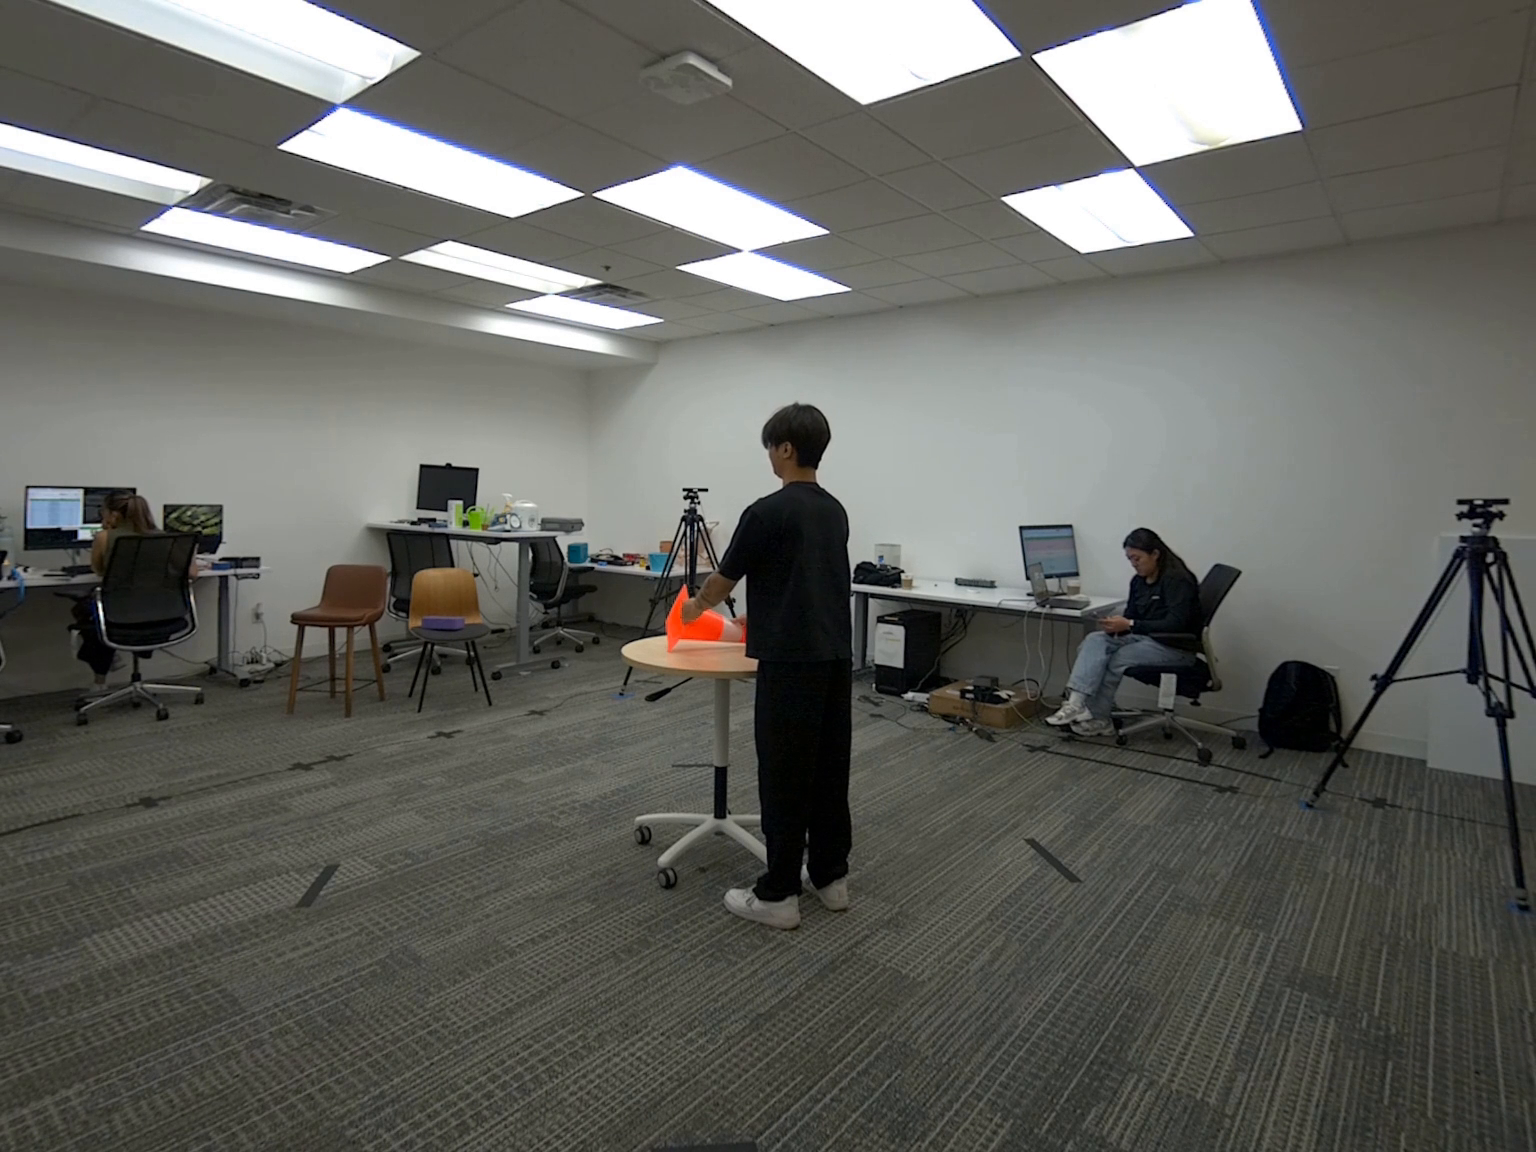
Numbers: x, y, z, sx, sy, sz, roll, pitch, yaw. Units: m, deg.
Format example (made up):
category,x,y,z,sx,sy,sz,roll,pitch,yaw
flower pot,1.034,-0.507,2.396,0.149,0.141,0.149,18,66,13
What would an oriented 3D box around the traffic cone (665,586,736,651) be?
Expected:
category,x,y,z,sx,sy,sz,roll,pitch,yaw
traffic cone,-0.183,0.210,3.264,0.374,0.202,0.212,19,27,-20
